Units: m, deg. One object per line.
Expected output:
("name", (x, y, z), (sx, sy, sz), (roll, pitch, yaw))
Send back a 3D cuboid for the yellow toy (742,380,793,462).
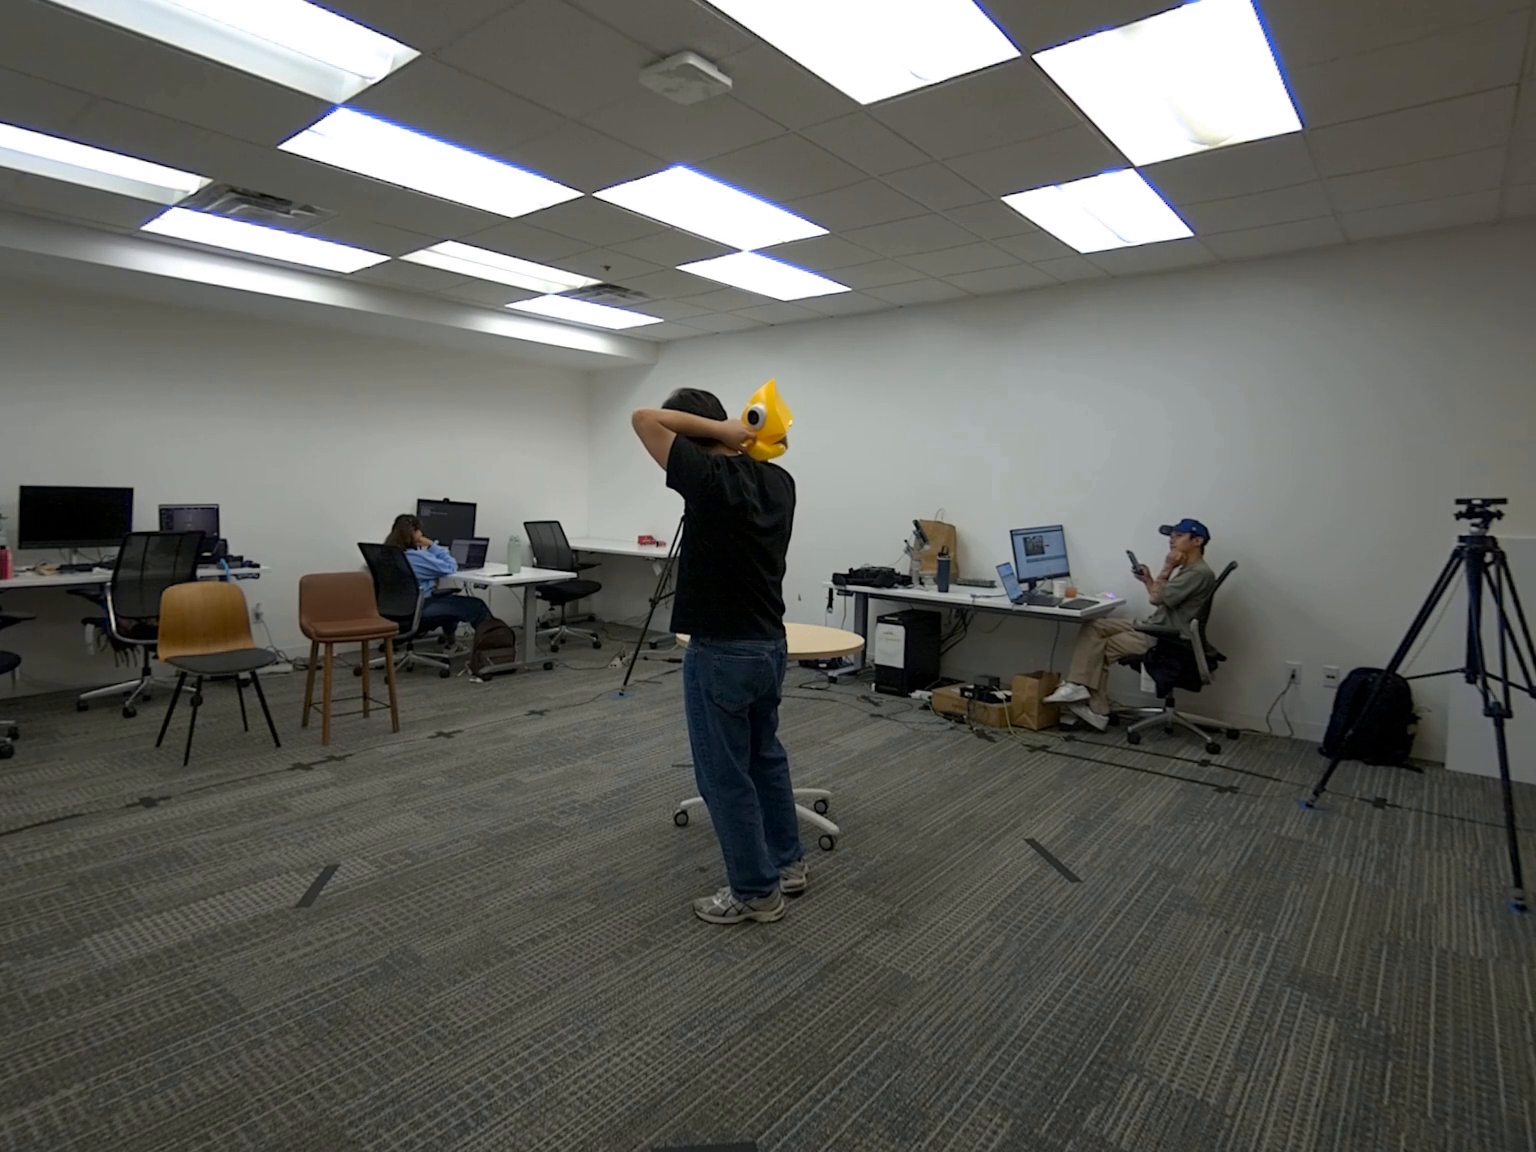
("yellow toy", (-0.031, -0.511, 2.723), (0.195, 0.226, 0.207), (-6, 20, 11))
